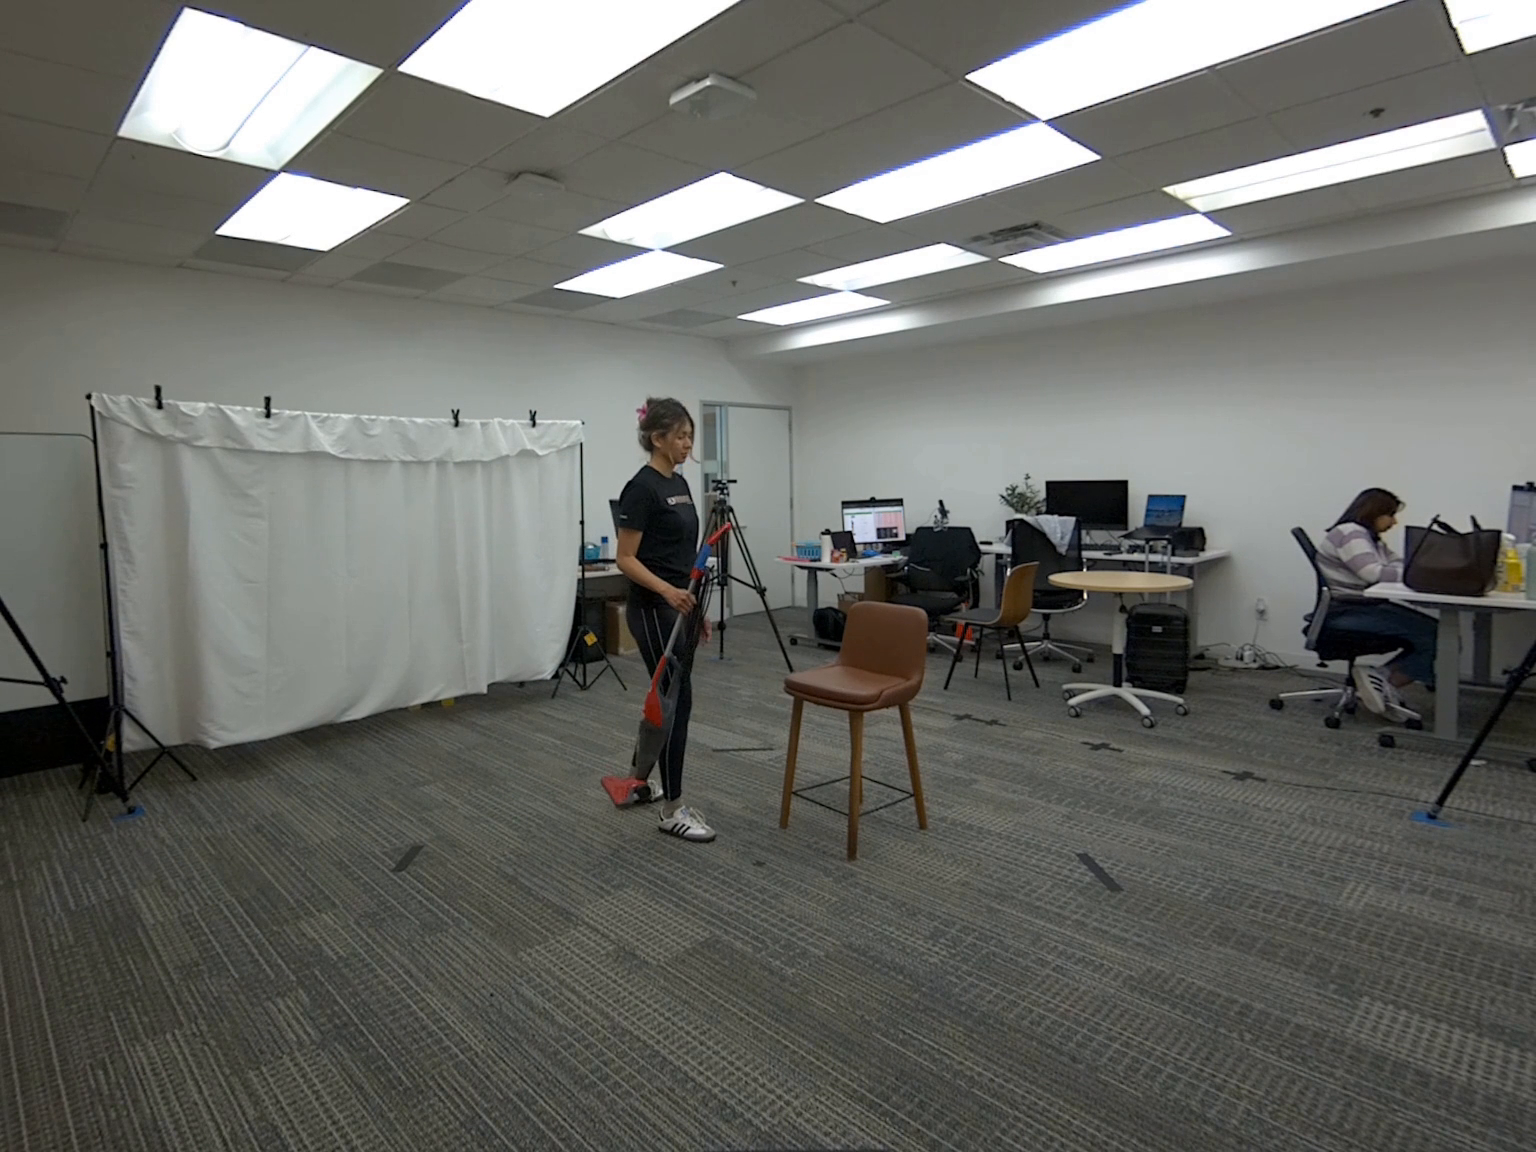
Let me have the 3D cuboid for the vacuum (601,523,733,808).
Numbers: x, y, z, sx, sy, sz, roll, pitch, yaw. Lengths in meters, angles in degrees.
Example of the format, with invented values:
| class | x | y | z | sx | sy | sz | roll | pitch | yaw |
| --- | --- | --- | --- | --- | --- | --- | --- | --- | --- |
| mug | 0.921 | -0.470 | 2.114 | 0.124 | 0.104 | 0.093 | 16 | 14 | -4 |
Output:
| class | x | y | z | sx | sy | sz | roll | pitch | yaw |
| --- | --- | --- | --- | --- | --- | --- | --- | --- | --- |
| vacuum | -0.334 | 0.309 | 3.154 | 0.139 | 1.052 | 0.261 | 23 | -5 | -37 |
